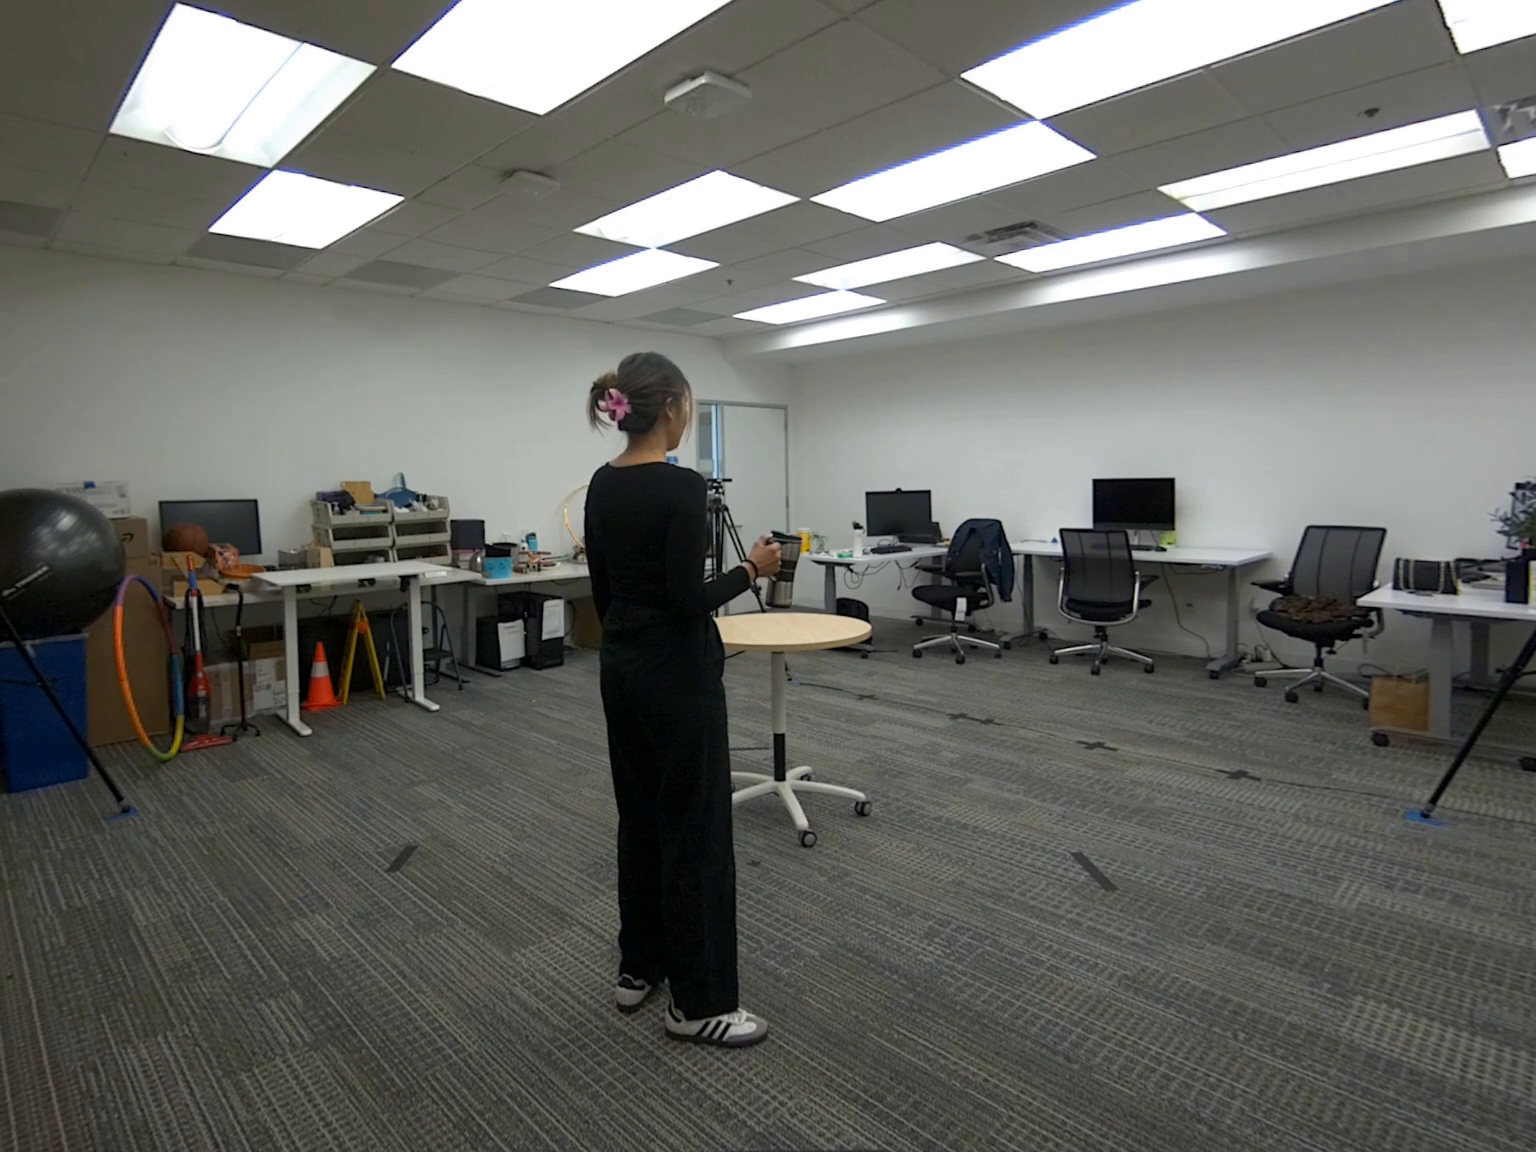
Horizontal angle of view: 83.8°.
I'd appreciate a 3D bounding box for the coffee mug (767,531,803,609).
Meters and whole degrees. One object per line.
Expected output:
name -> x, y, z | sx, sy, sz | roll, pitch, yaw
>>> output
coffee mug -> 0.021, -0.013, 2.301 | 0.120, 0.202, 0.090 | 8, 5, -16
